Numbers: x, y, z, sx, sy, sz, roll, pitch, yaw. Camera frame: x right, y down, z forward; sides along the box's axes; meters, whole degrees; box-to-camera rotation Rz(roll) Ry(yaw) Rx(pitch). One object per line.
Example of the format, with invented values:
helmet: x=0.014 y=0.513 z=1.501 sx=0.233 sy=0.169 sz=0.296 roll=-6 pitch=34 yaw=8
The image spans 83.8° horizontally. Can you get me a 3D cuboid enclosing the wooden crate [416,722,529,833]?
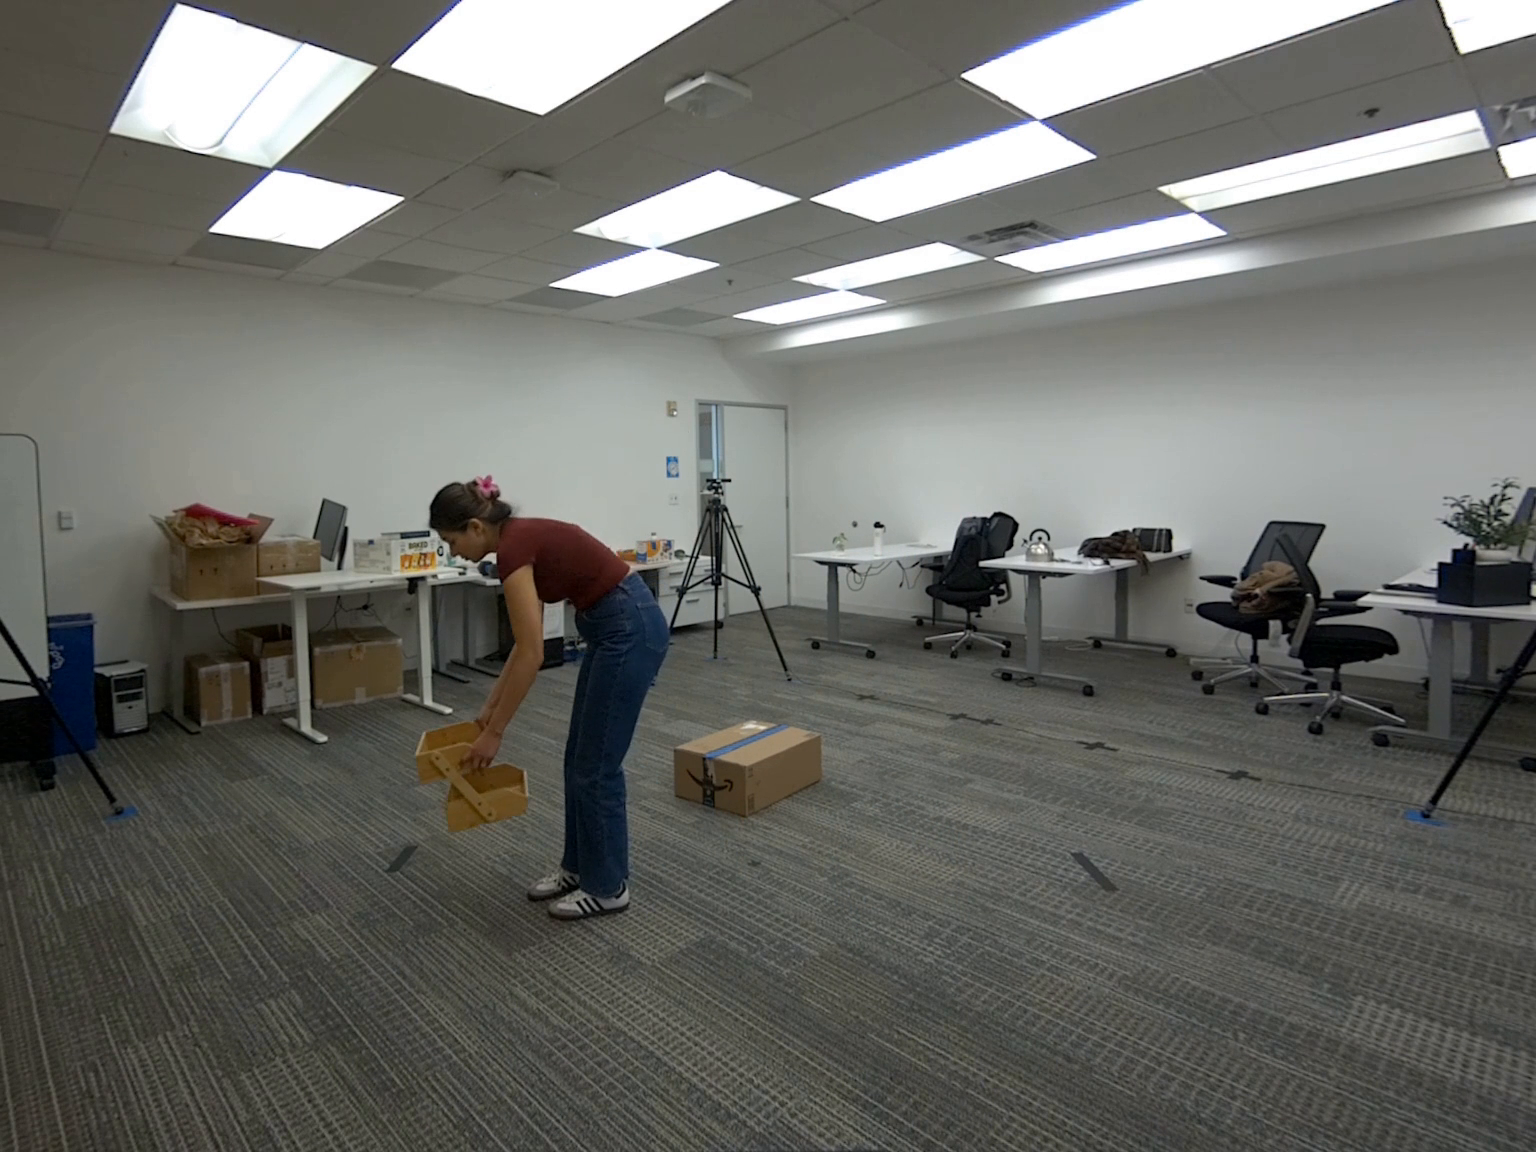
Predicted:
wooden crate: x=-0.940 y=0.618 z=2.744 sx=0.298 sy=0.272 sz=0.330 roll=-13 pitch=7 yaw=-16
